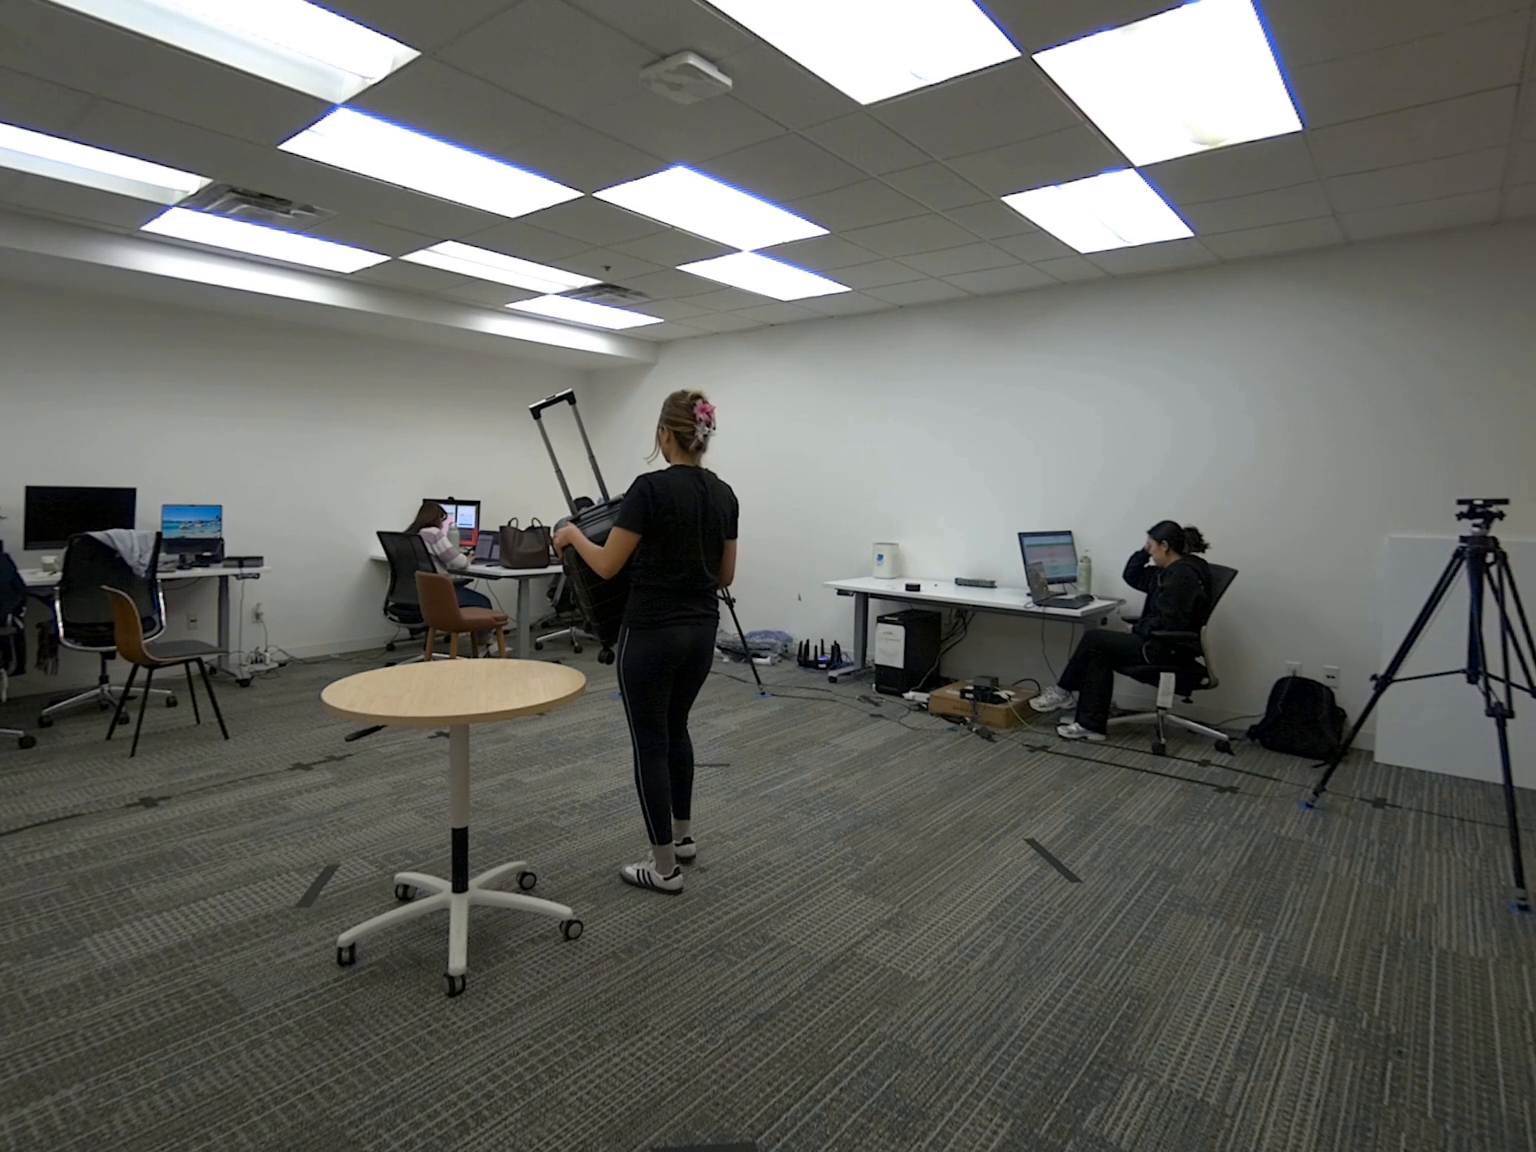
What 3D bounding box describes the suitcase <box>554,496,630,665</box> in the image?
[{"bbox_3d":[-0.608,-0.180,3.072,0.380,0.947,0.268,-22,37,-16],"label":"suitcase"}]
